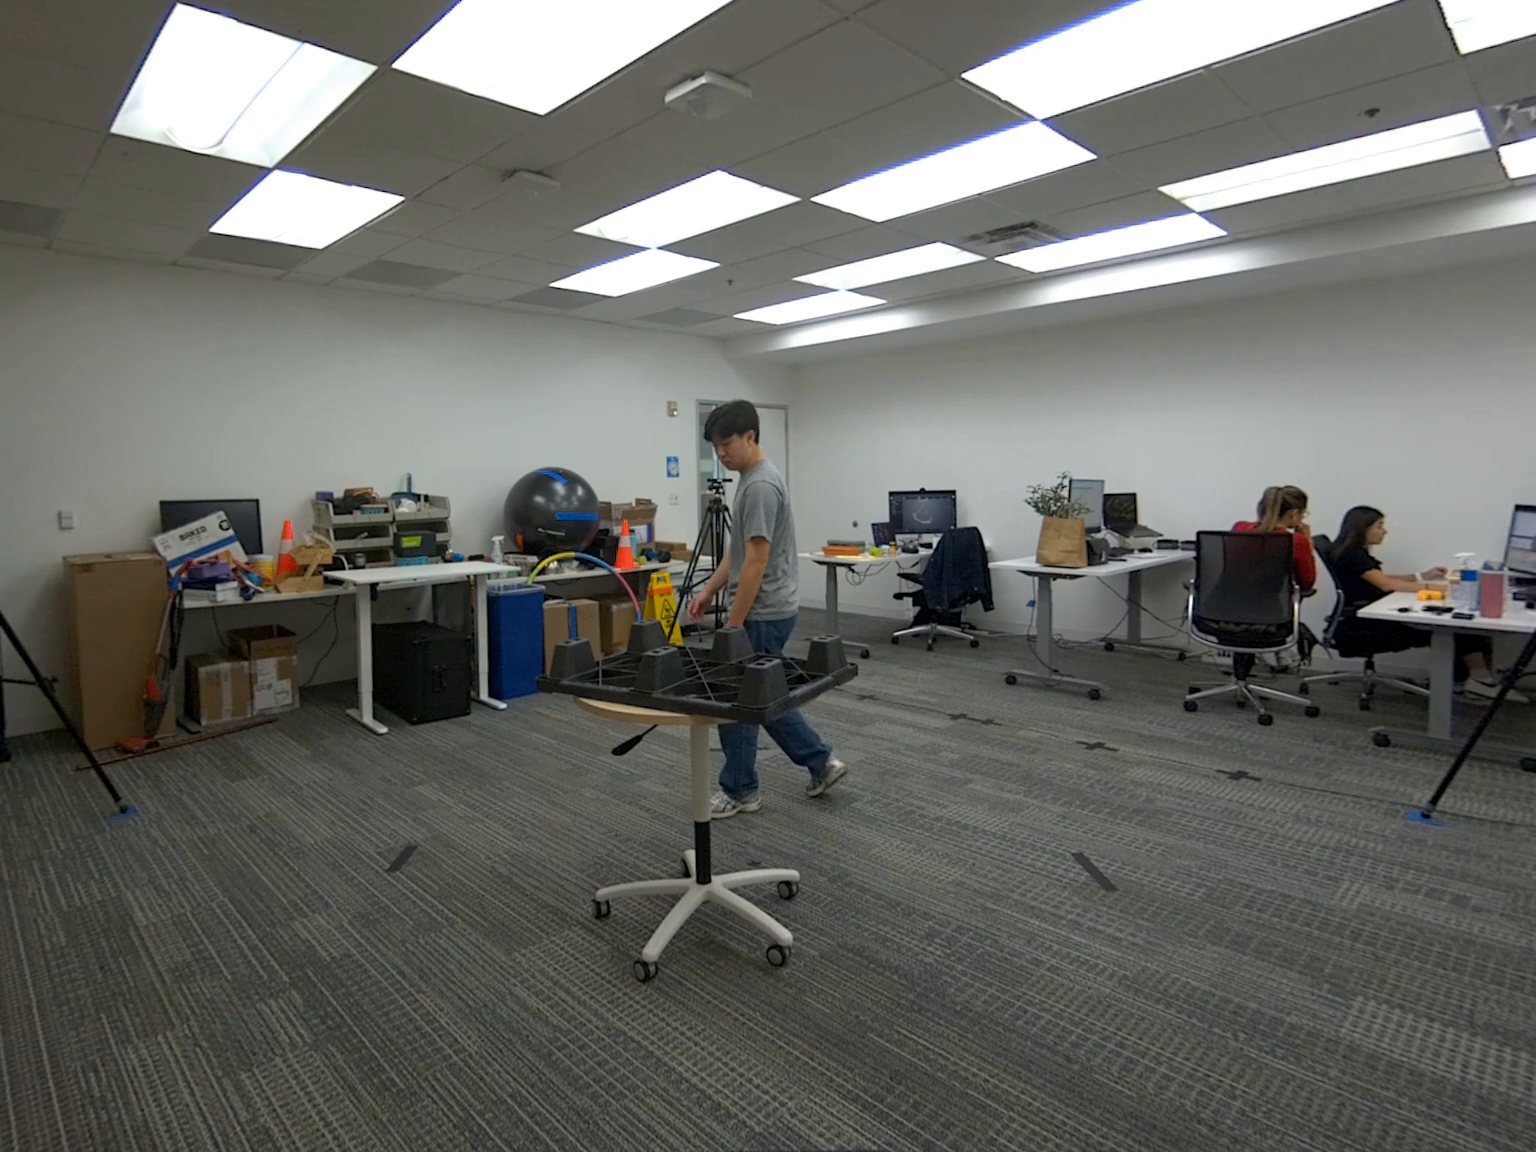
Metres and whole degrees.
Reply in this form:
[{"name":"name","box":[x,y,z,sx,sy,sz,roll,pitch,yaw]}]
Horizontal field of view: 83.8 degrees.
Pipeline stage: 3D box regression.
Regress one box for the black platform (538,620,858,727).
[{"name":"black platform","box":[-0.202,0.262,2.592,0.827,0.142,0.592,2,9,32]}]
